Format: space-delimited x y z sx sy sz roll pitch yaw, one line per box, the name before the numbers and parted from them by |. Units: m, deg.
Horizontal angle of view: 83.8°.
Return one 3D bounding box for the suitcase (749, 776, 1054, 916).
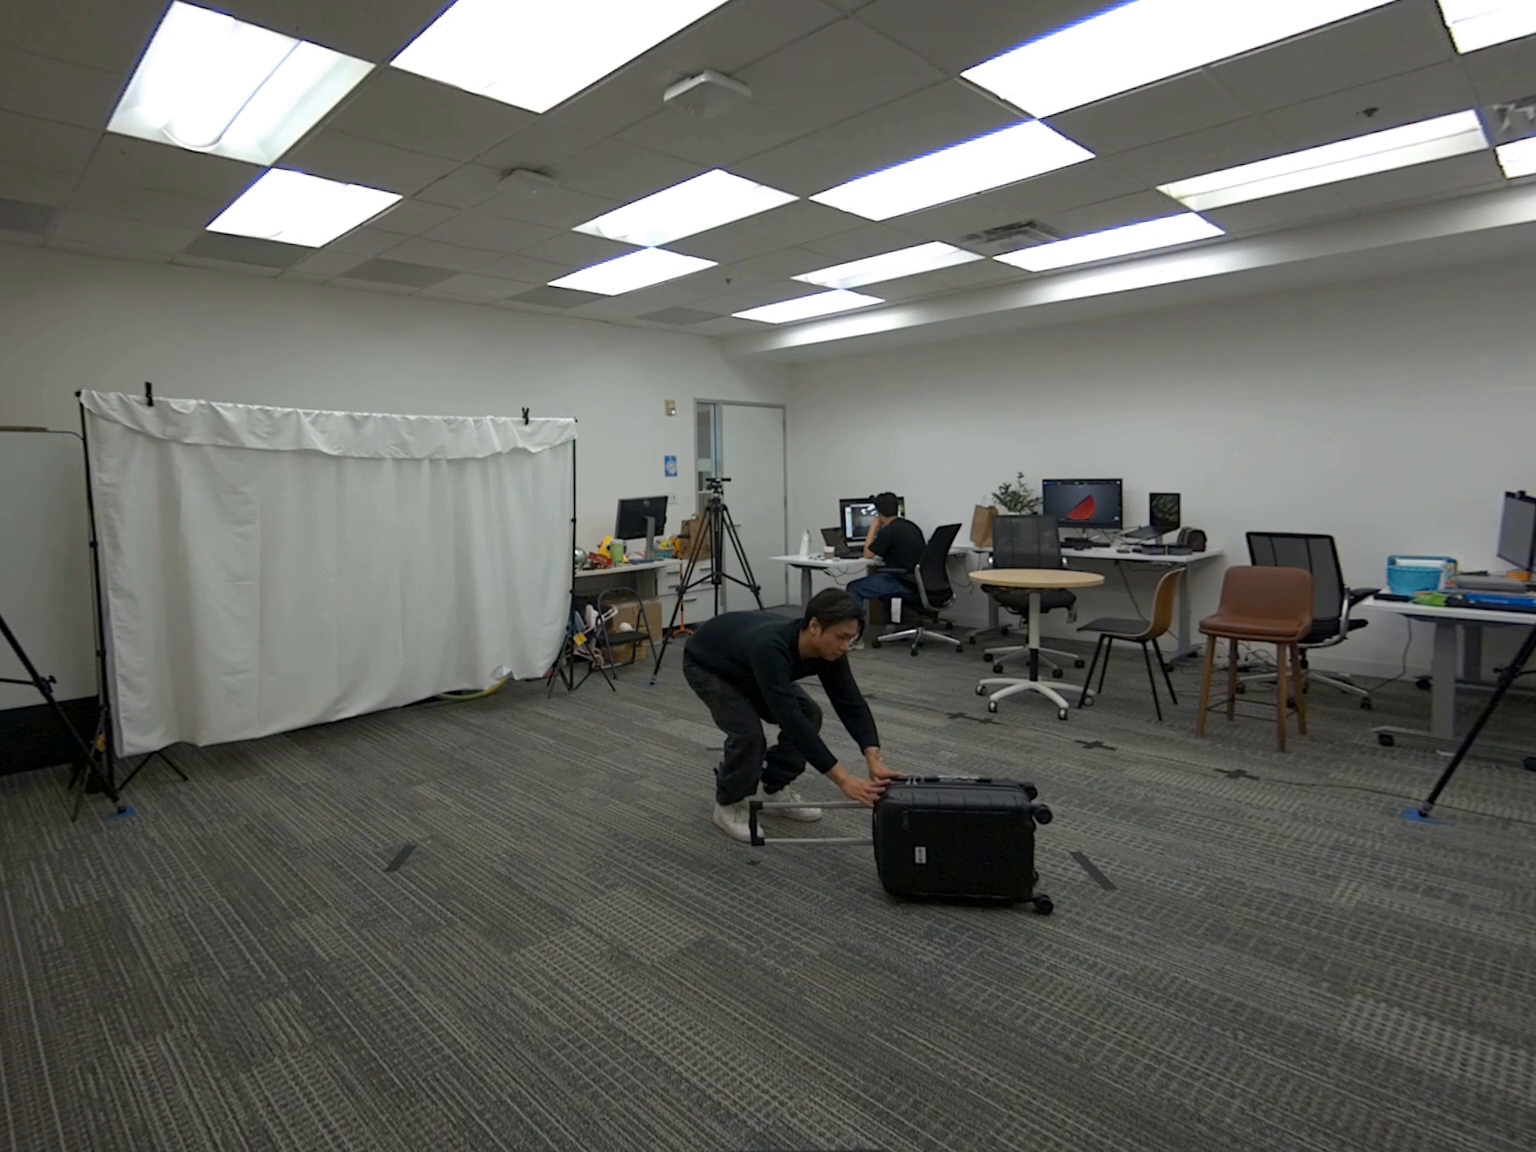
suitcase | 0.428 0.879 2.866 0.985 0.383 0.256 0 3 7
